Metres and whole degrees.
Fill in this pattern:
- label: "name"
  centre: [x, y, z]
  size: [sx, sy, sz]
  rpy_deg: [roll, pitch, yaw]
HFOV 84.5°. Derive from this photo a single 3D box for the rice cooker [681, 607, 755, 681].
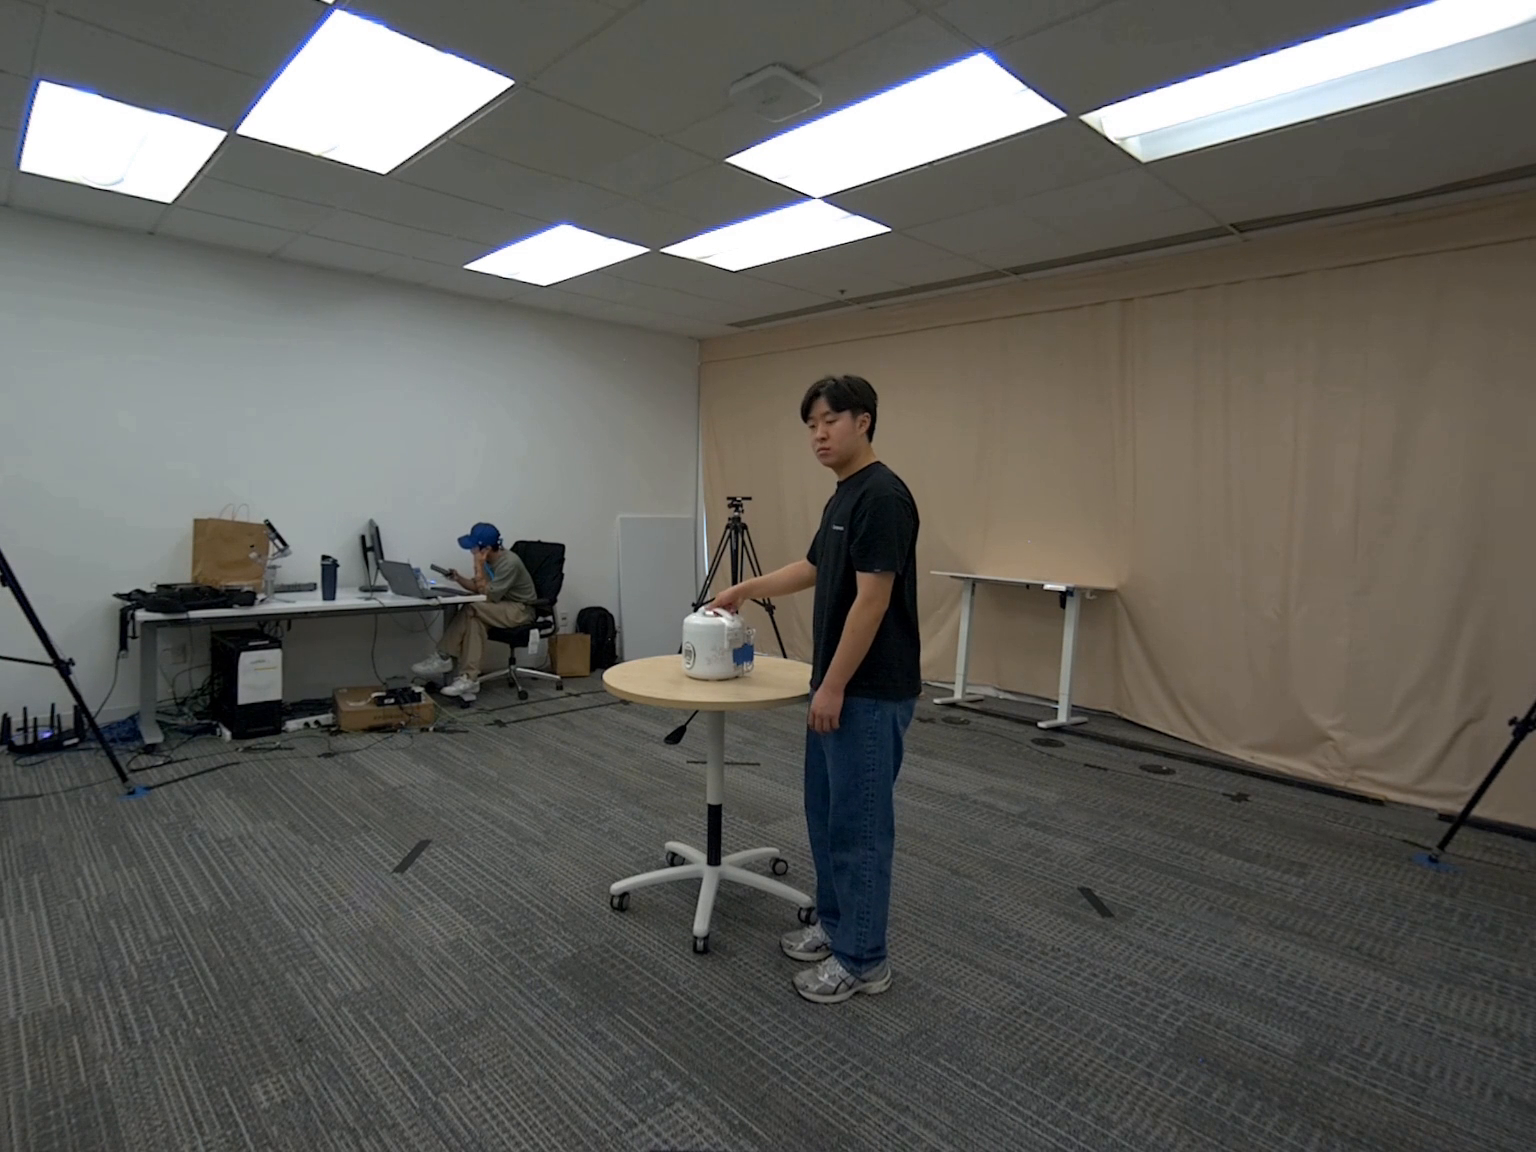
- label: "rice cooker"
  centre: [-0.184, 0.221, 2.817]
  size: [0.212, 0.232, 0.226]
  rpy_deg: [-1, 4, -42]
